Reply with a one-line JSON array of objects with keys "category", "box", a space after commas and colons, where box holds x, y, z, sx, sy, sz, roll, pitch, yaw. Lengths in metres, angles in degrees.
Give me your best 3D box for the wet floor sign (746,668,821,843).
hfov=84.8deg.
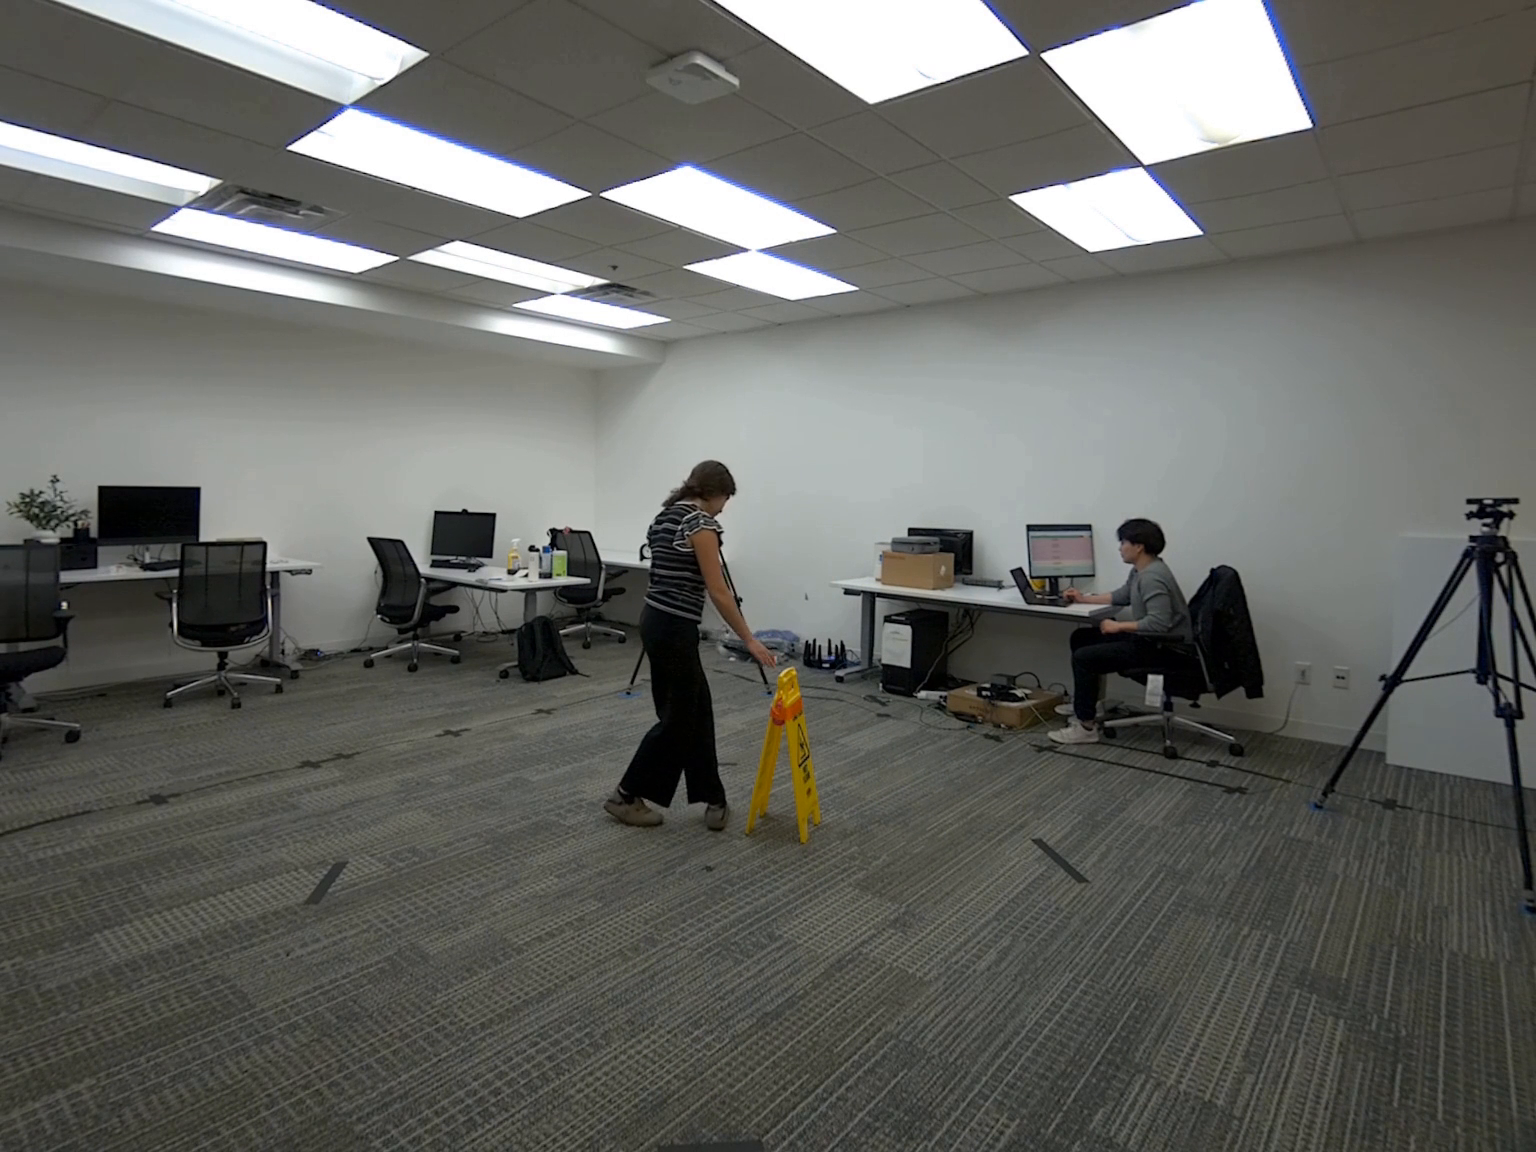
[{"category": "wet floor sign", "box": [0.067, 0.713, 3.497, 0.295, 0.643, 0.278, 3, 4, 18]}]
